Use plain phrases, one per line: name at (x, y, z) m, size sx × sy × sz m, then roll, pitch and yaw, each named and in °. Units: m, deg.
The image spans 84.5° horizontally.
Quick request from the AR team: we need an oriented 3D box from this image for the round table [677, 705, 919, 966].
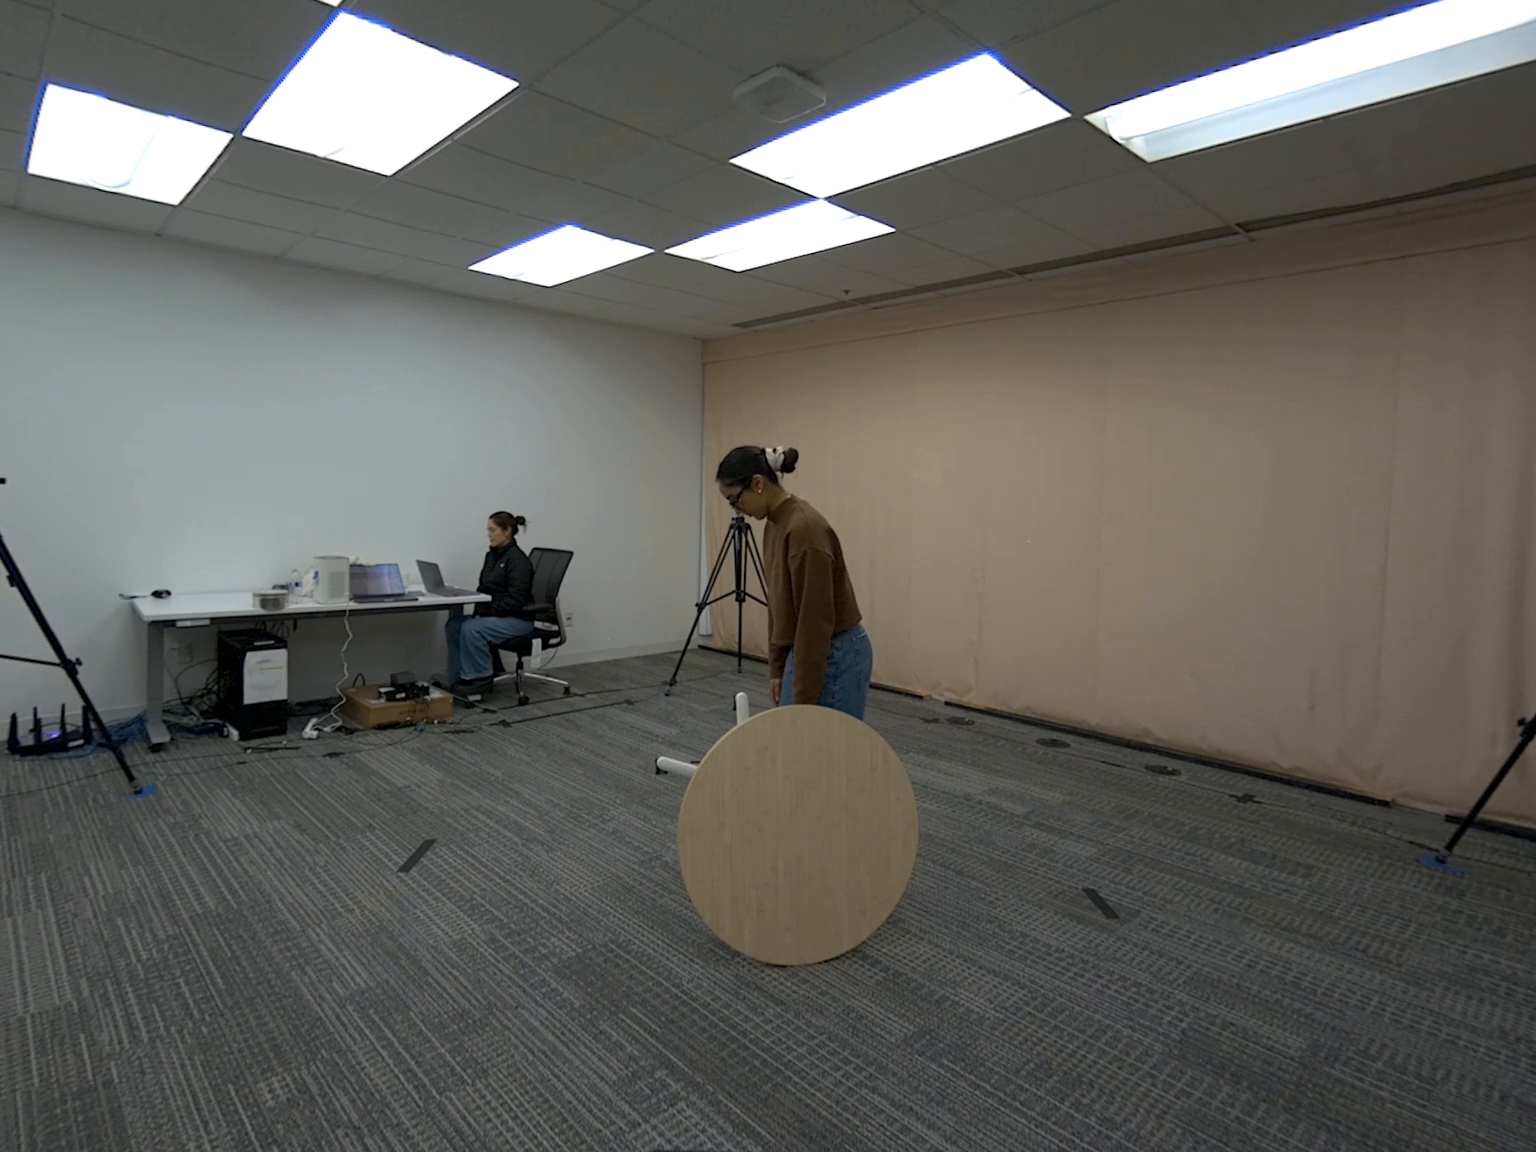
round table at (-0.004, 0.802, 2.935) m, size 0.756 × 0.766 × 0.800 m, roll 0°, pitch -3°, yaw -14°
